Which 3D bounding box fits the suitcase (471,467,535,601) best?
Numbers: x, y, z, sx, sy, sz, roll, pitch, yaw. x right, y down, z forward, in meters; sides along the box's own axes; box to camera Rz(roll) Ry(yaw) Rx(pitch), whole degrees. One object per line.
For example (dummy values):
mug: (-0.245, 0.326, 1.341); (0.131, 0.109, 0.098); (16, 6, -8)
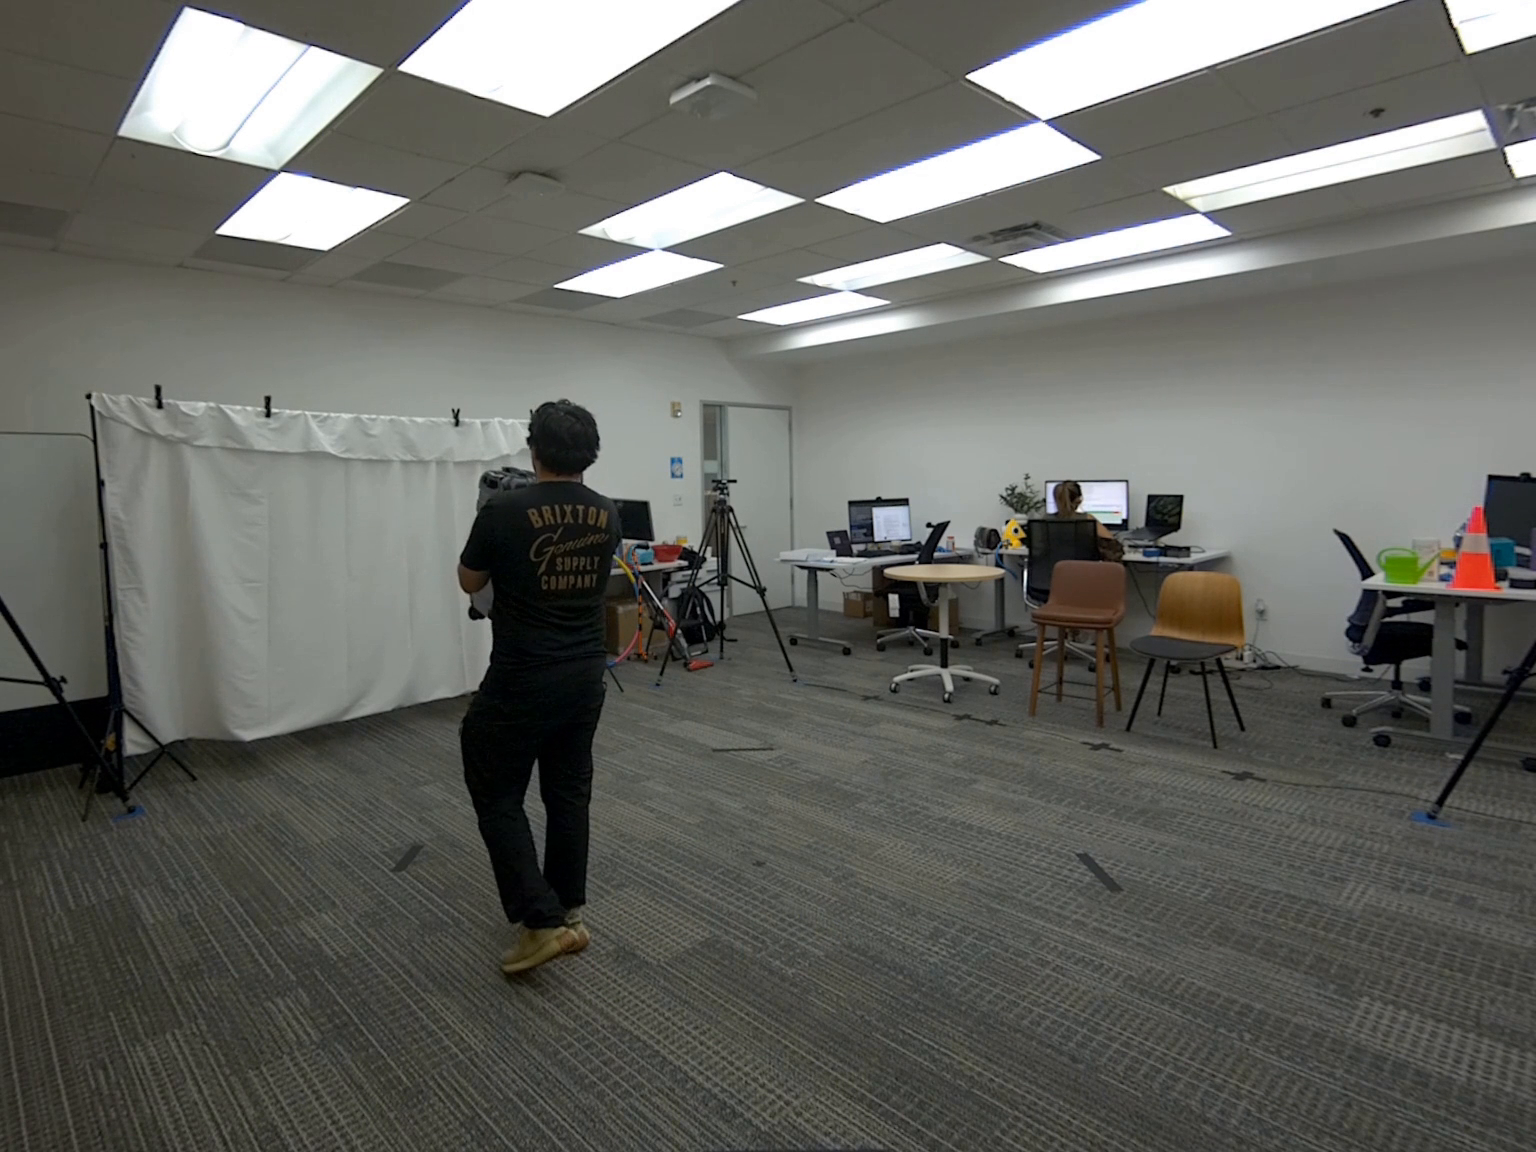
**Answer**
suitcase: (-0.857, -0.095, 2.943); (0.241, 0.546, 0.388); (2, 8, -33)
